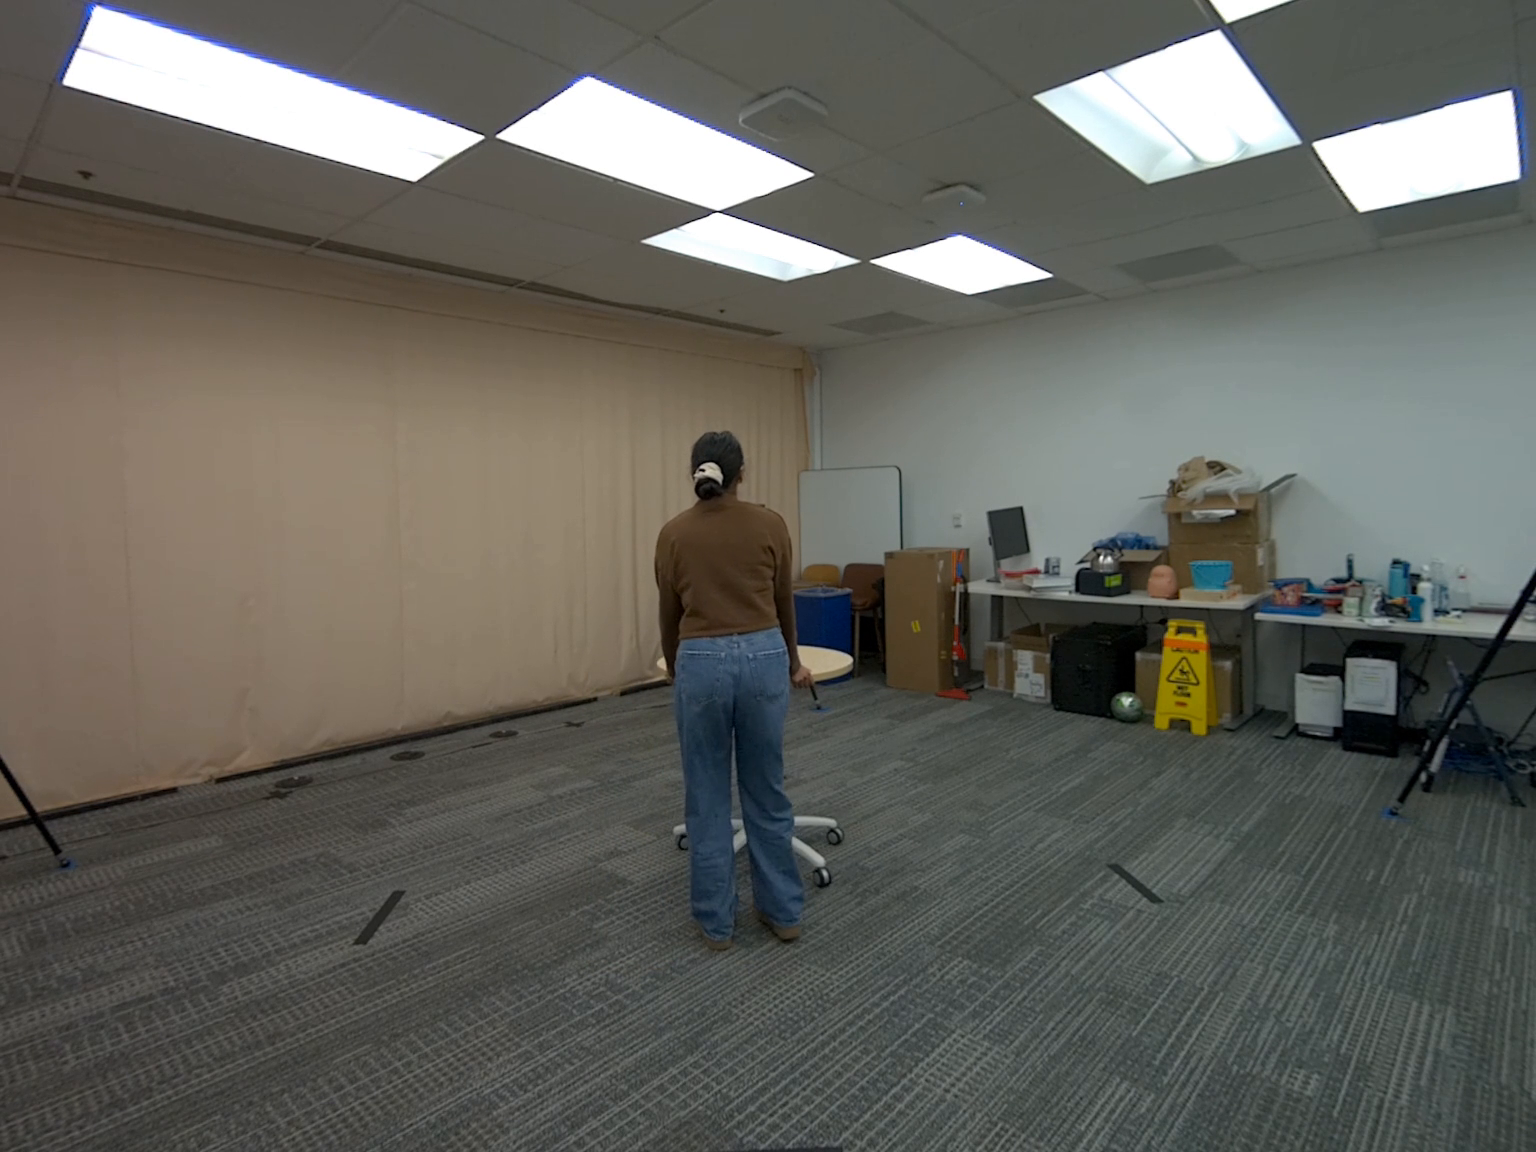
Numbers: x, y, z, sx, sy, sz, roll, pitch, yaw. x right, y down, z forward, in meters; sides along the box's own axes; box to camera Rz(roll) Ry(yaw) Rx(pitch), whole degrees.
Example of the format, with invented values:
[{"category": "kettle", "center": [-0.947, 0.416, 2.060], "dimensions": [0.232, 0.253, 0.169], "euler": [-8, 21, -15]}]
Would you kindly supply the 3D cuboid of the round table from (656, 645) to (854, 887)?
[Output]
[{"category": "round table", "center": [-0.036, 0.717, 3.307], "dimensions": [0.784, 0.785, 0.787], "euler": [-2, 3, -2]}]
